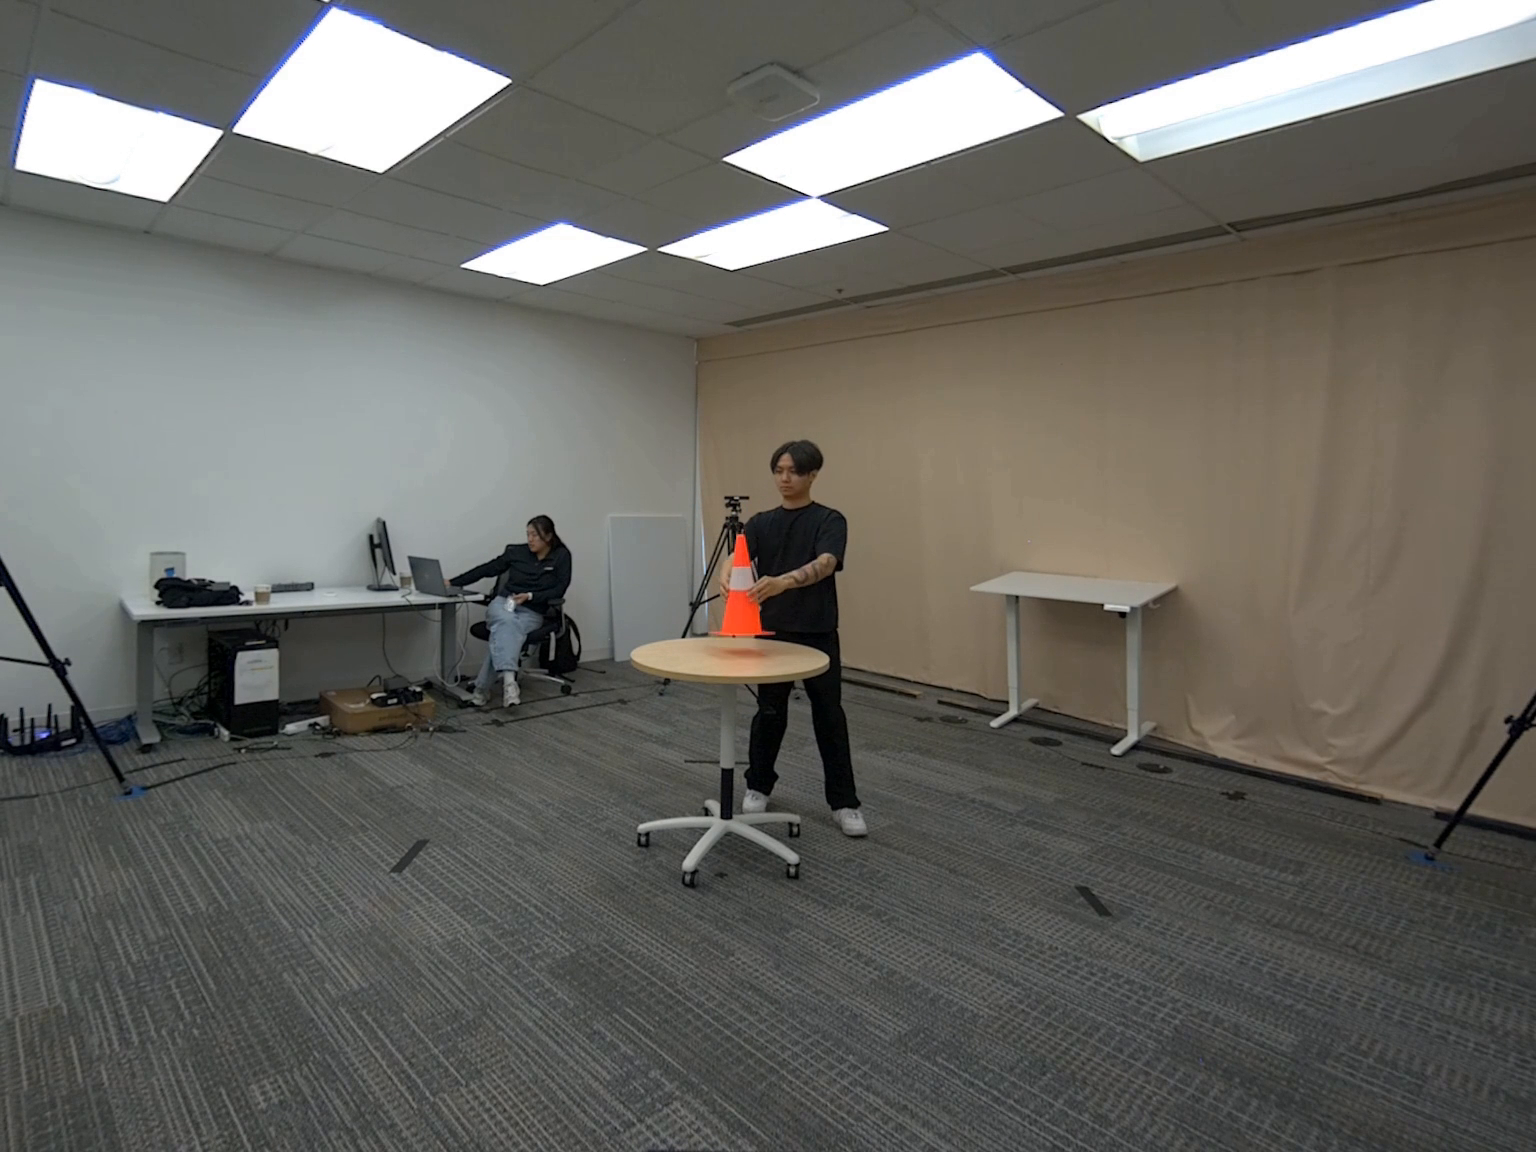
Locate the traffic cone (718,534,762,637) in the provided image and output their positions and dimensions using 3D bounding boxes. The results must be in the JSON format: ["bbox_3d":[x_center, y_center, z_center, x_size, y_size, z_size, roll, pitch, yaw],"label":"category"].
[{"bbox_3d":[-0.111,0.028,3.277,0.199,0.383,0.210,-2,3,-44],"label":"traffic cone"}]
